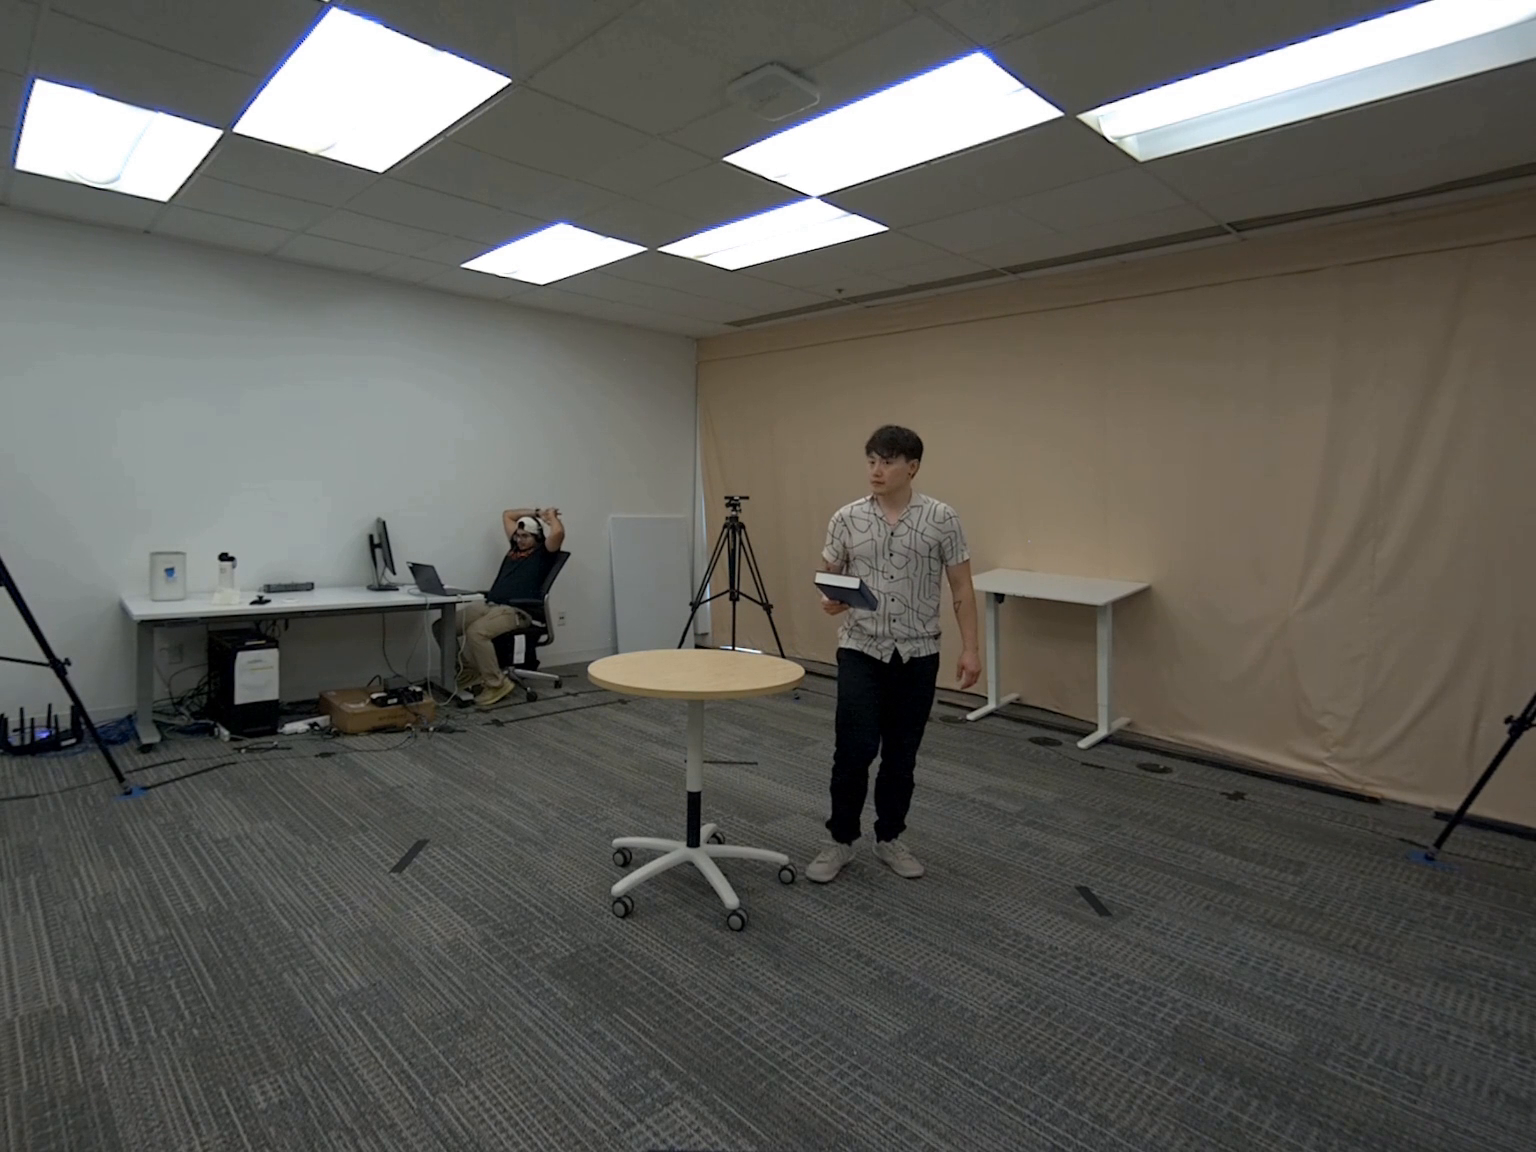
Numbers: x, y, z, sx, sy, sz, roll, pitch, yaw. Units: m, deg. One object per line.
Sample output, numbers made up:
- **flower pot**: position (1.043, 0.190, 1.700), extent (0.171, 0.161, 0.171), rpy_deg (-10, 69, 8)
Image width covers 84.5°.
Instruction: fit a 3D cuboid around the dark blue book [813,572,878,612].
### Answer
- **dark blue book**: position (0.260, 0.054, 2.883), extent (0.167, 0.045, 0.238), rpy_deg (9, -17, 26)
